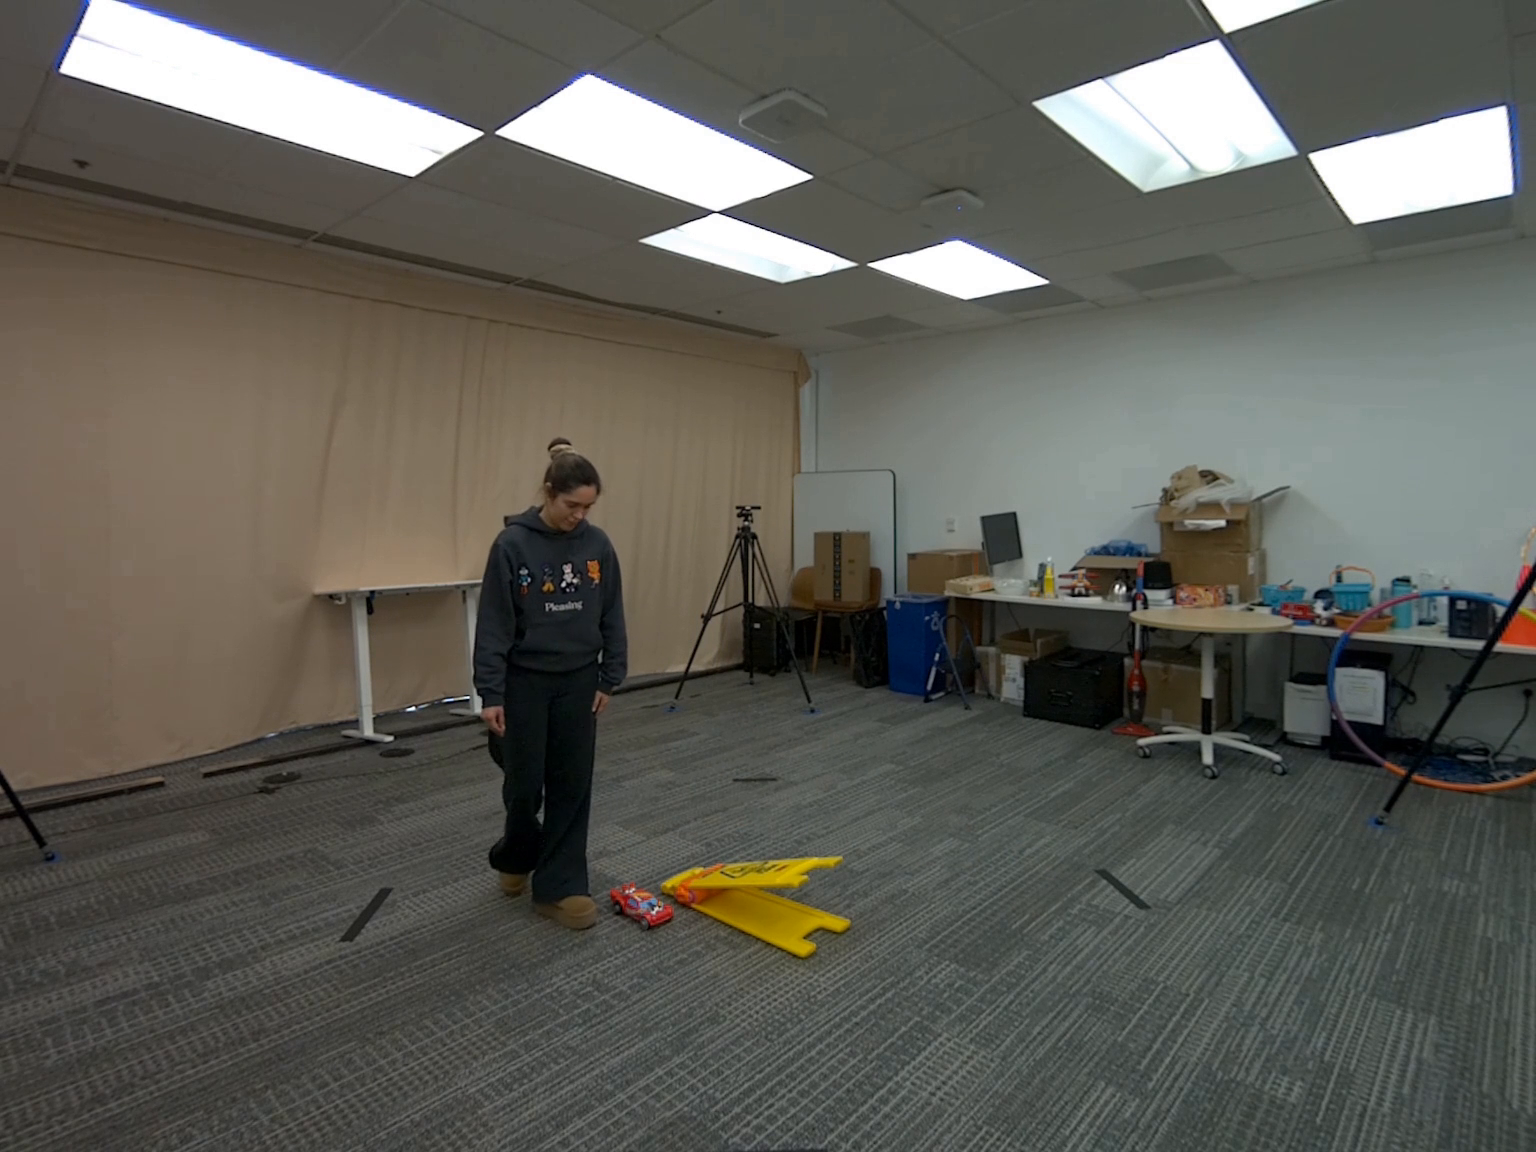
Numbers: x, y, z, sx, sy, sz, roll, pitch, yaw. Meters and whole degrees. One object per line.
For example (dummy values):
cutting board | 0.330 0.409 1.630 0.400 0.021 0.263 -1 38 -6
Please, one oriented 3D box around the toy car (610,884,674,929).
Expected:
toy car | -0.420 1.132 2.870 0.126 0.083 0.264 -6 17 -43
